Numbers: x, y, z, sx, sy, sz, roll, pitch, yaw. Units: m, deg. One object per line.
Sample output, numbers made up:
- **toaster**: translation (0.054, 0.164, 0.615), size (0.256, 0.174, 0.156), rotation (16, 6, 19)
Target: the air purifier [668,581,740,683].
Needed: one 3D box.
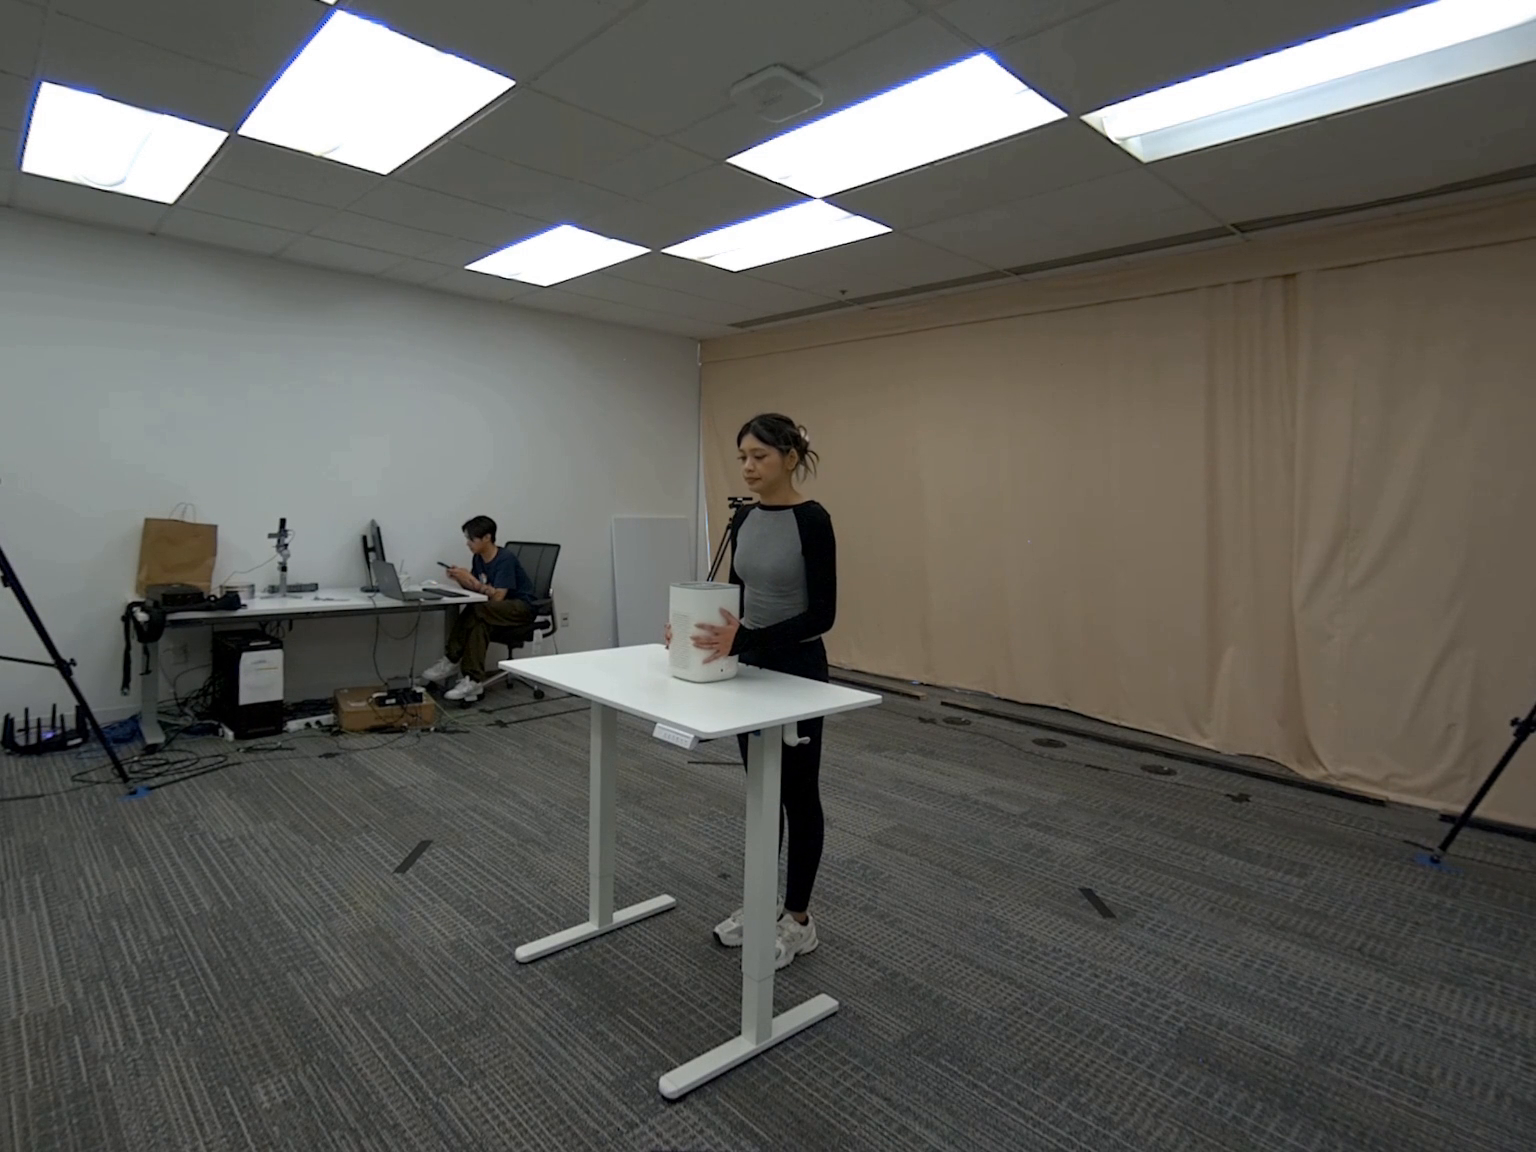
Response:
- **air purifier**: translation (-0.183, 0.157, 2.387), size (0.167, 0.265, 0.176), rotation (0, 3, -42)
